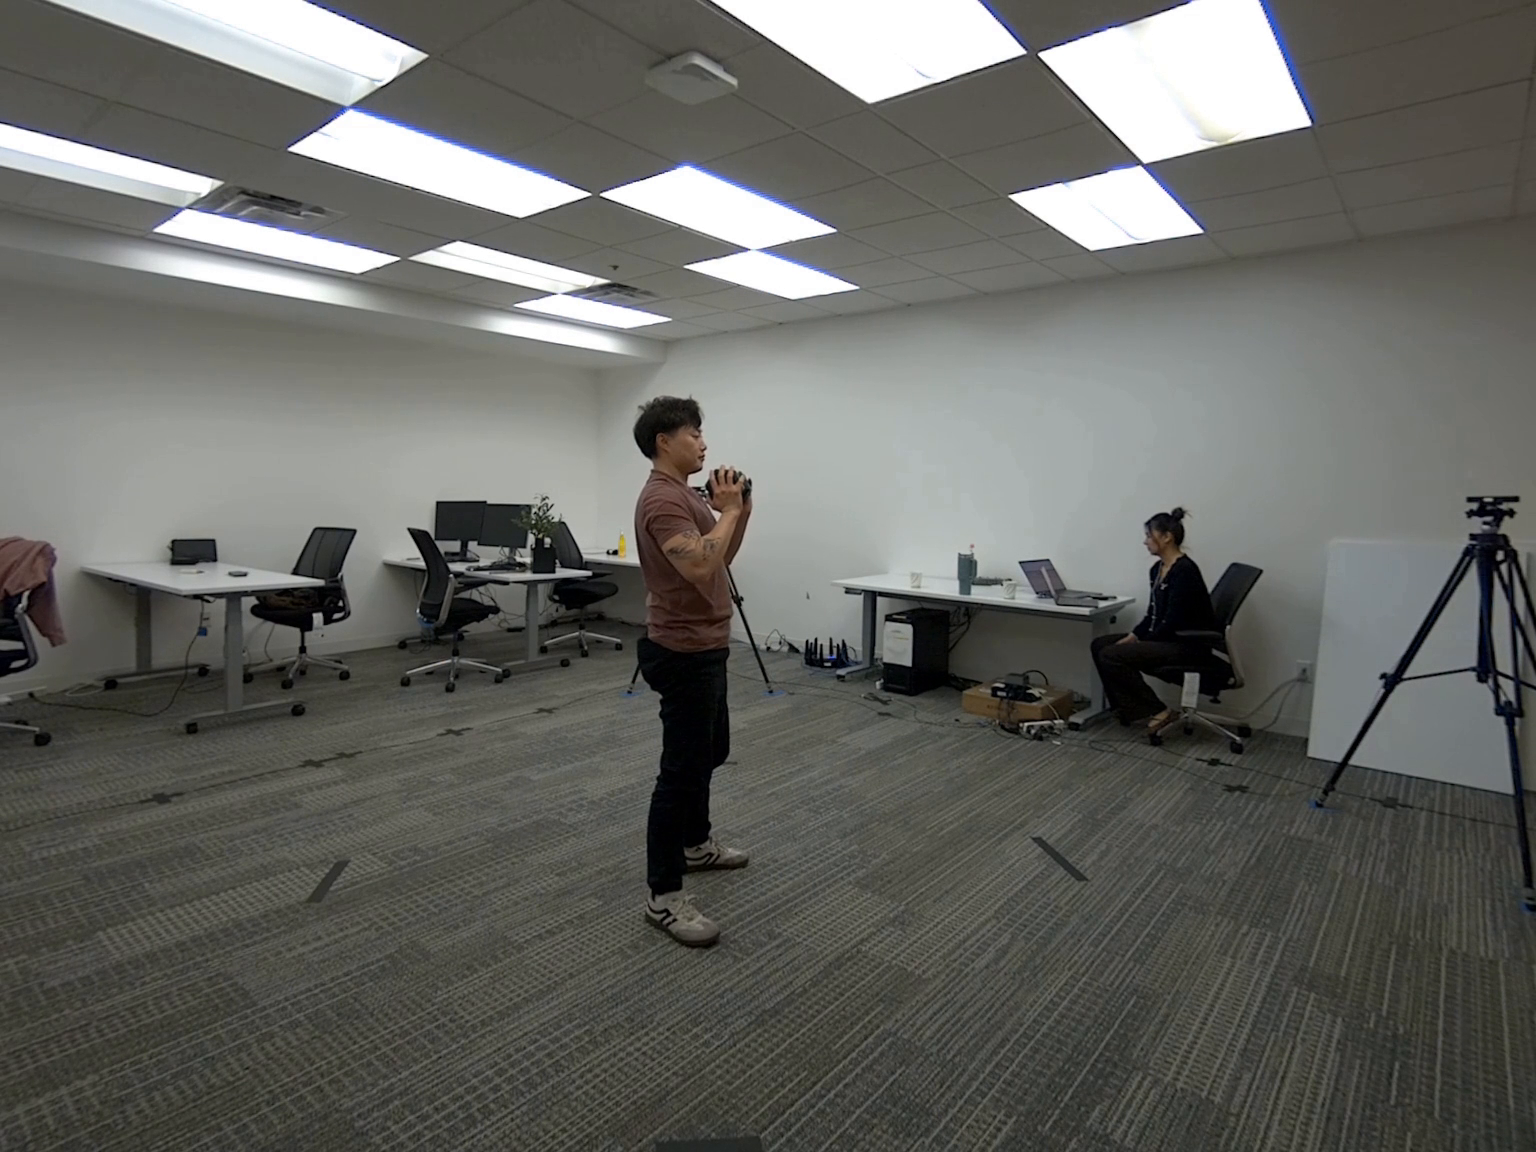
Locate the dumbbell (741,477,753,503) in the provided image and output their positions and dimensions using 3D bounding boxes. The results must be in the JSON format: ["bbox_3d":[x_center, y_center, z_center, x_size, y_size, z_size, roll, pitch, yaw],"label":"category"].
[{"bbox_3d":[-0.149,-0.290,2.815,0.110,0.123,0.291,38,6,5],"label":"dumbbell"}]
